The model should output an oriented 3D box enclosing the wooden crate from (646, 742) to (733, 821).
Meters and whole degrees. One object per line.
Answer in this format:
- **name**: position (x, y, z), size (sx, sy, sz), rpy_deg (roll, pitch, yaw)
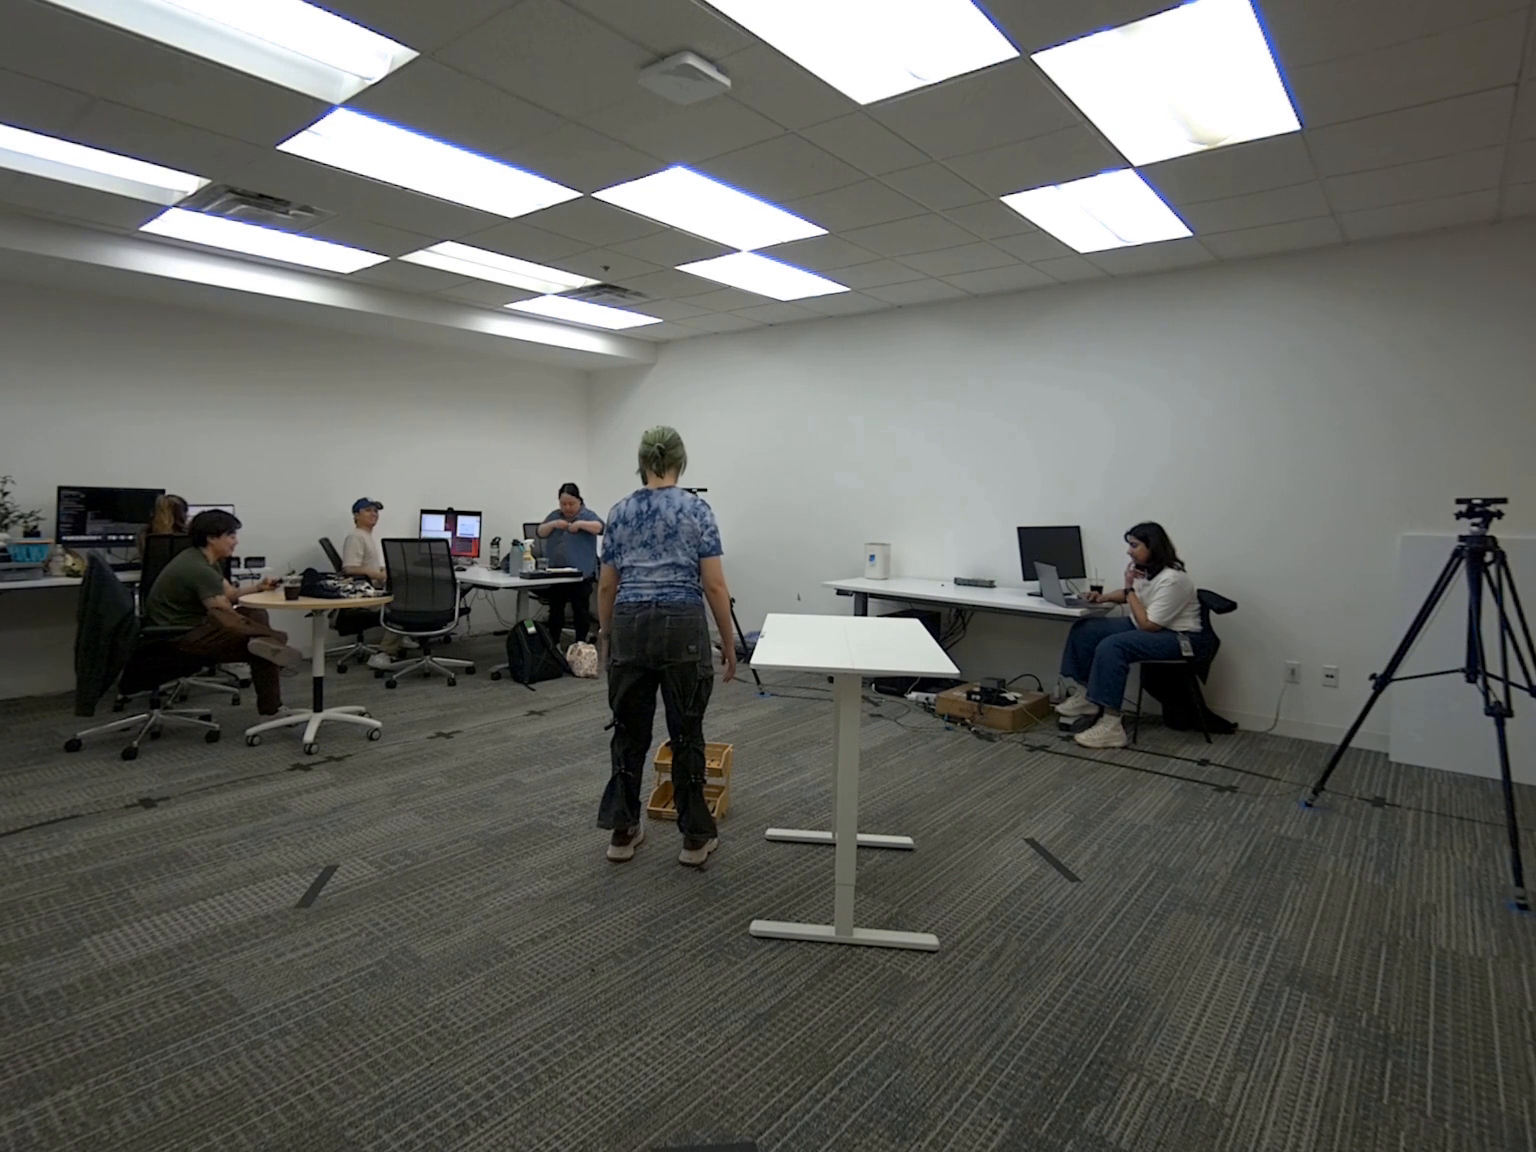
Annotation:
- **wooden crate**: position (-0.340, 0.878, 3.671), size (0.329, 0.272, 0.299), rpy_deg (1, 4, 13)
